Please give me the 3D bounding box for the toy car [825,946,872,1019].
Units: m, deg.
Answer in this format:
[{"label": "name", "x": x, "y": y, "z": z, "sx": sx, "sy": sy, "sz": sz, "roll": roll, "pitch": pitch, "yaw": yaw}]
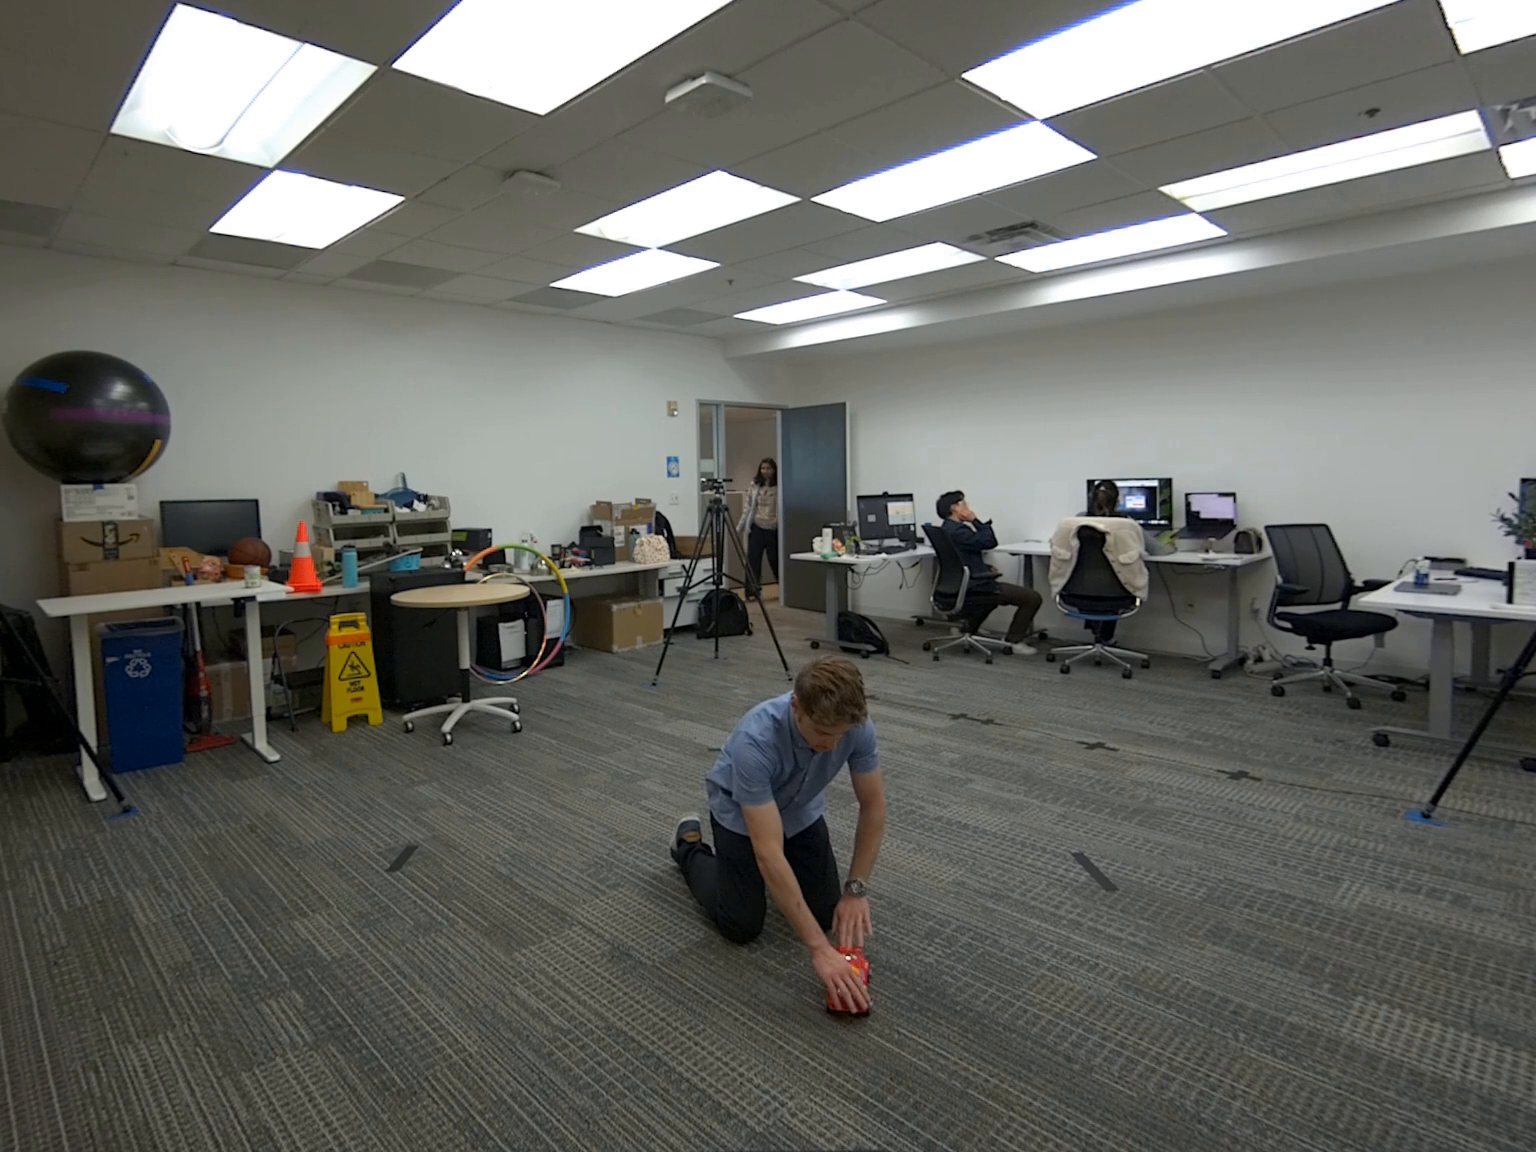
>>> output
[{"label": "toy car", "x": 0.214, "y": 1.107, "z": 2.321, "sx": 0.132, "sy": 0.082, "sz": 0.255, "roll": 1, "pitch": 18, "yaw": 10}]
